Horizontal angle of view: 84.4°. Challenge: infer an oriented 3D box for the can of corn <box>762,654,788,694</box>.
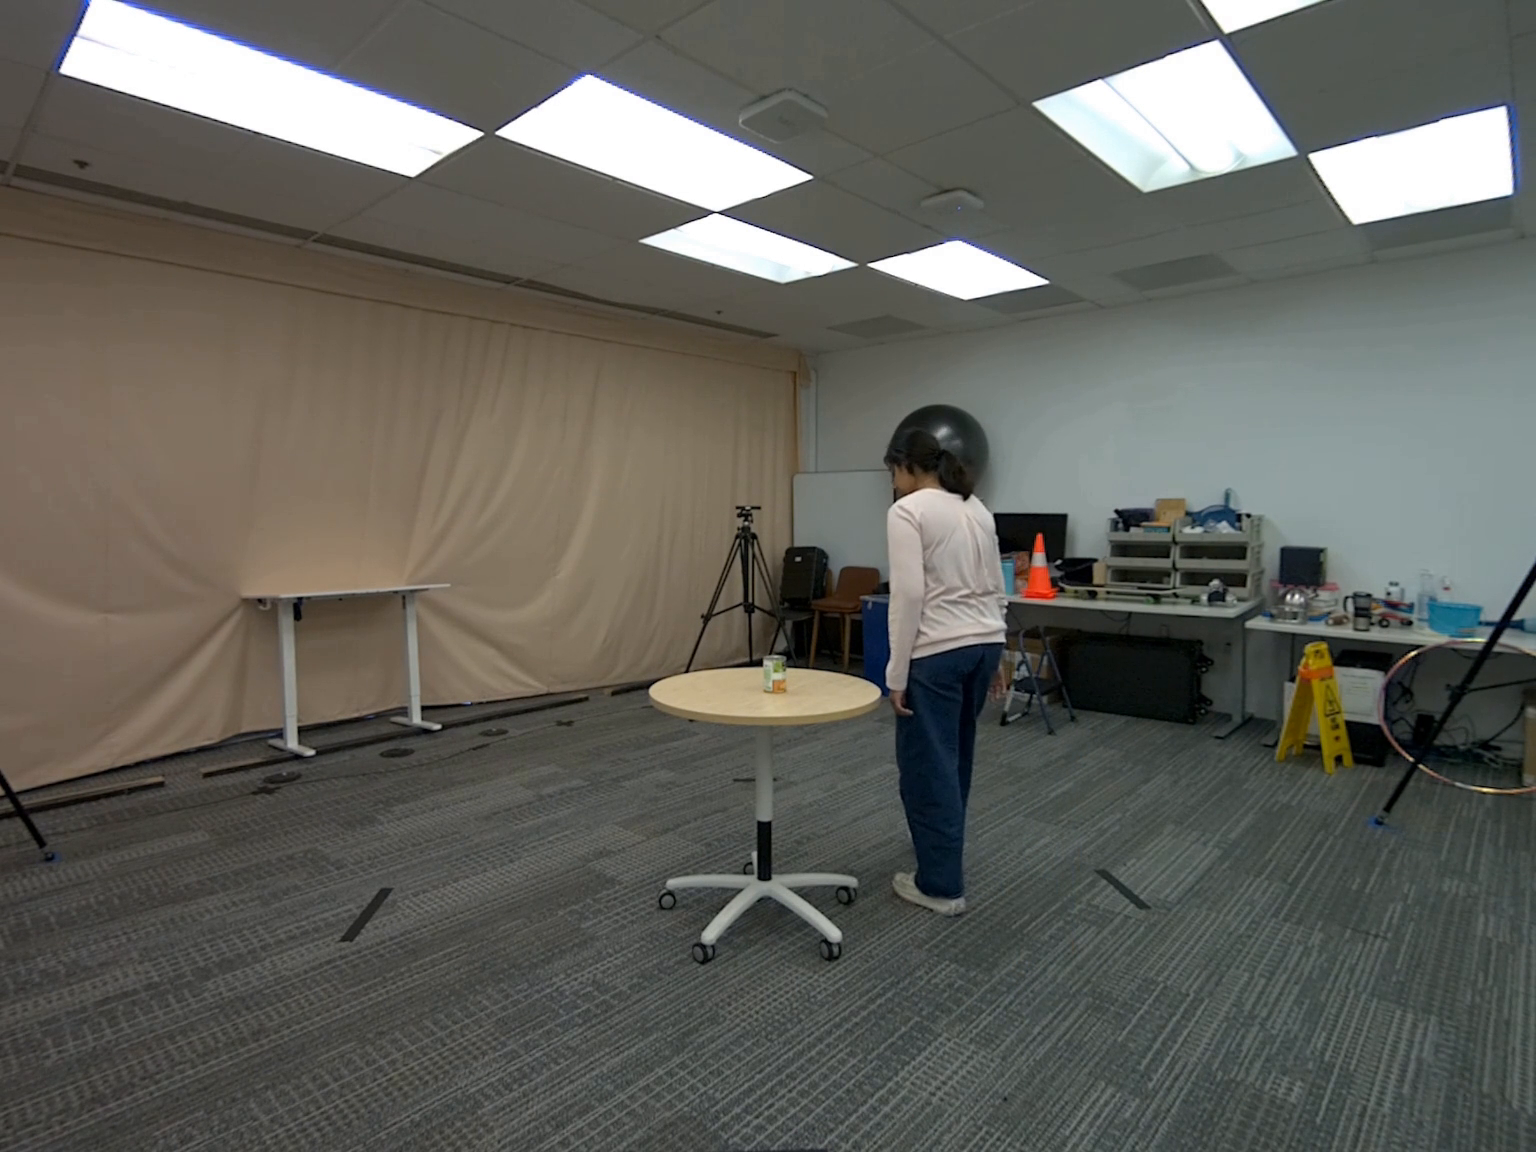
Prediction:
[{"bbox_3d":[0.031,0.325,2.755,0.074,0.111,0.074,1,3,-2],"label":"can of corn"}]
